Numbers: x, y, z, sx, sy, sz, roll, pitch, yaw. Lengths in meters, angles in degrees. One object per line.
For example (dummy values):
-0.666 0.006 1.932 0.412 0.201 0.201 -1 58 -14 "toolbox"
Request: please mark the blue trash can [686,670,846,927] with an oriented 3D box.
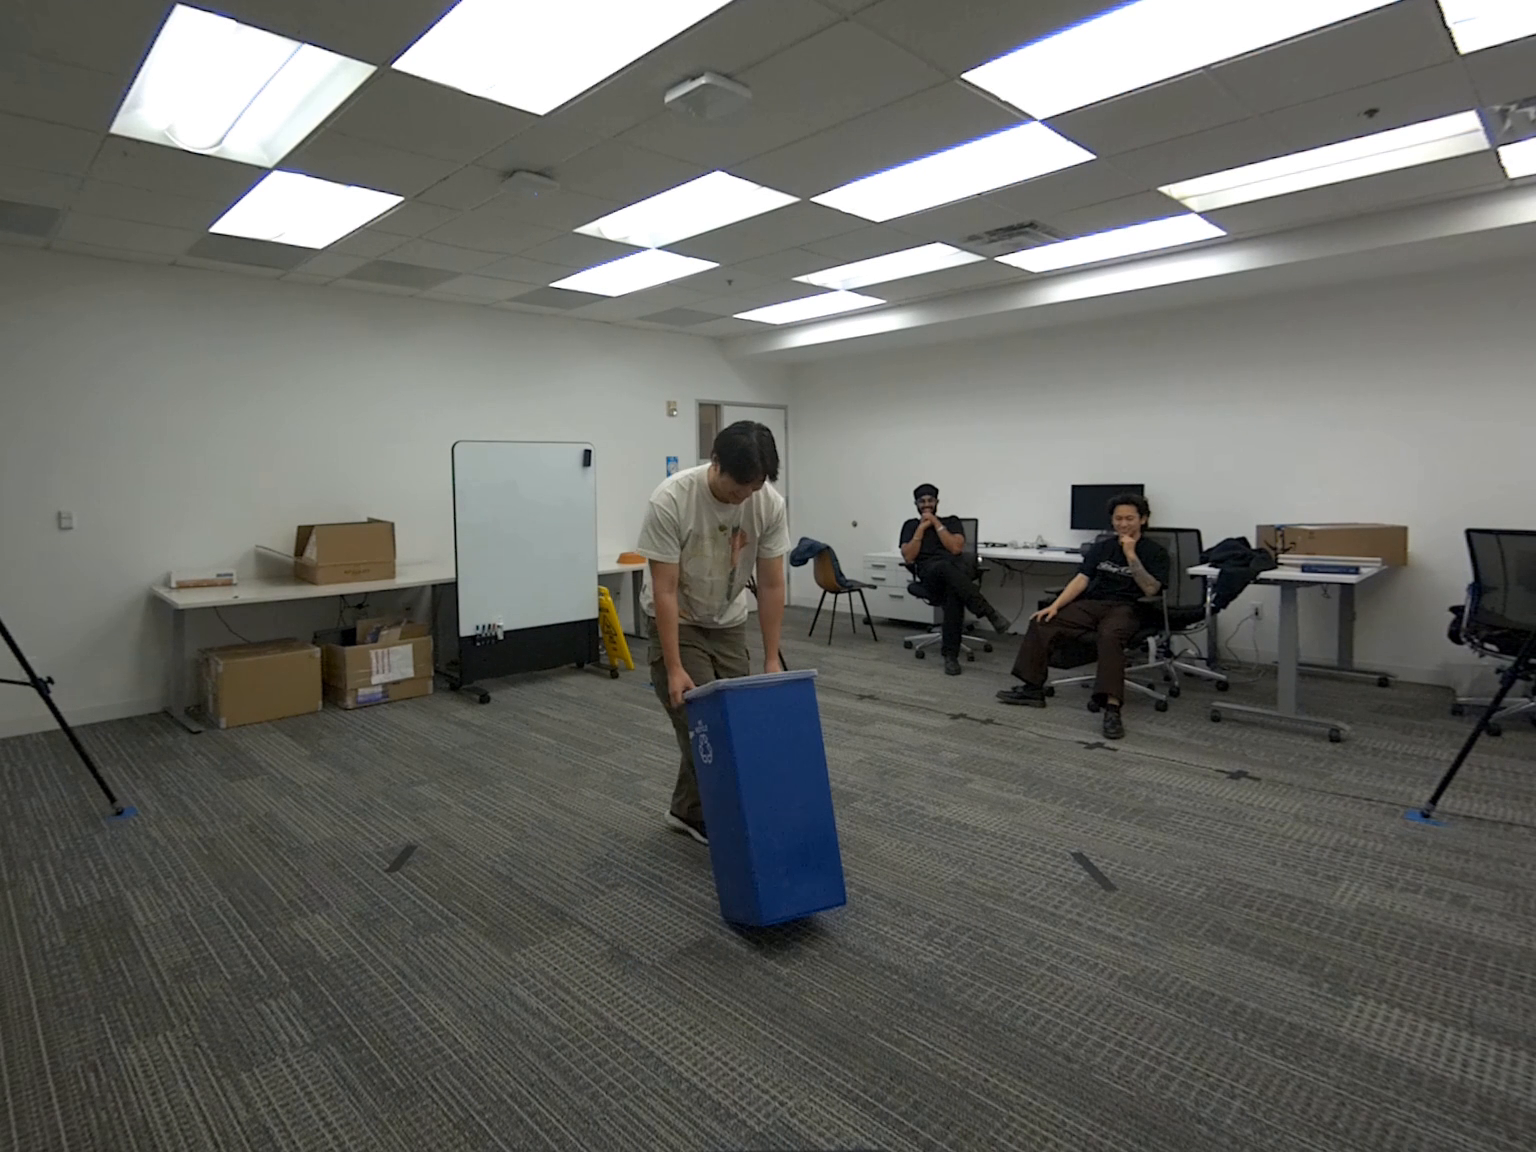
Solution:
-0.006 0.695 2.734 0.370 0.725 0.376 -2 -17 -27 "blue trash can"
